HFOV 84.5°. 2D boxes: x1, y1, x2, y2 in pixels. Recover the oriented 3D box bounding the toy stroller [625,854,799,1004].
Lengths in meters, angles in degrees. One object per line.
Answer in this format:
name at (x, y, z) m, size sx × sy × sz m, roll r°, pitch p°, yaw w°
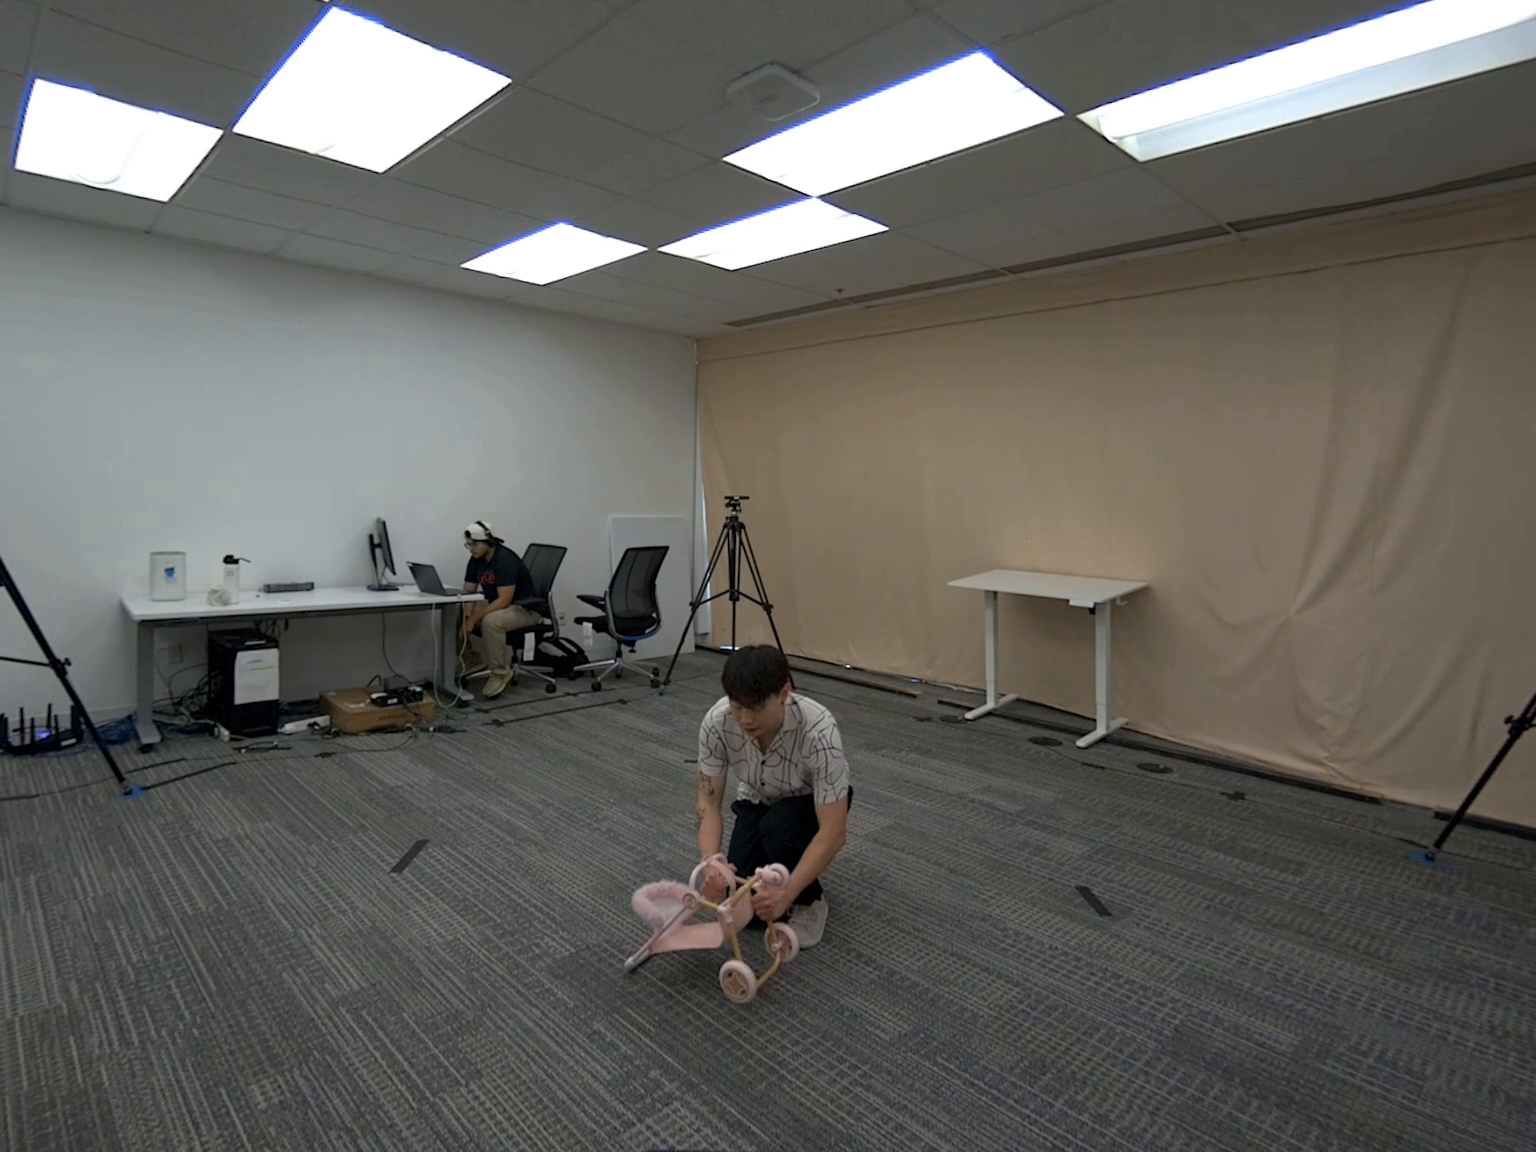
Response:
toy stroller at (-0.170, 0.967, 2.384) m, size 0.545 × 0.340 × 0.277 m, roll -5°, pitch 4°, yaw 30°
